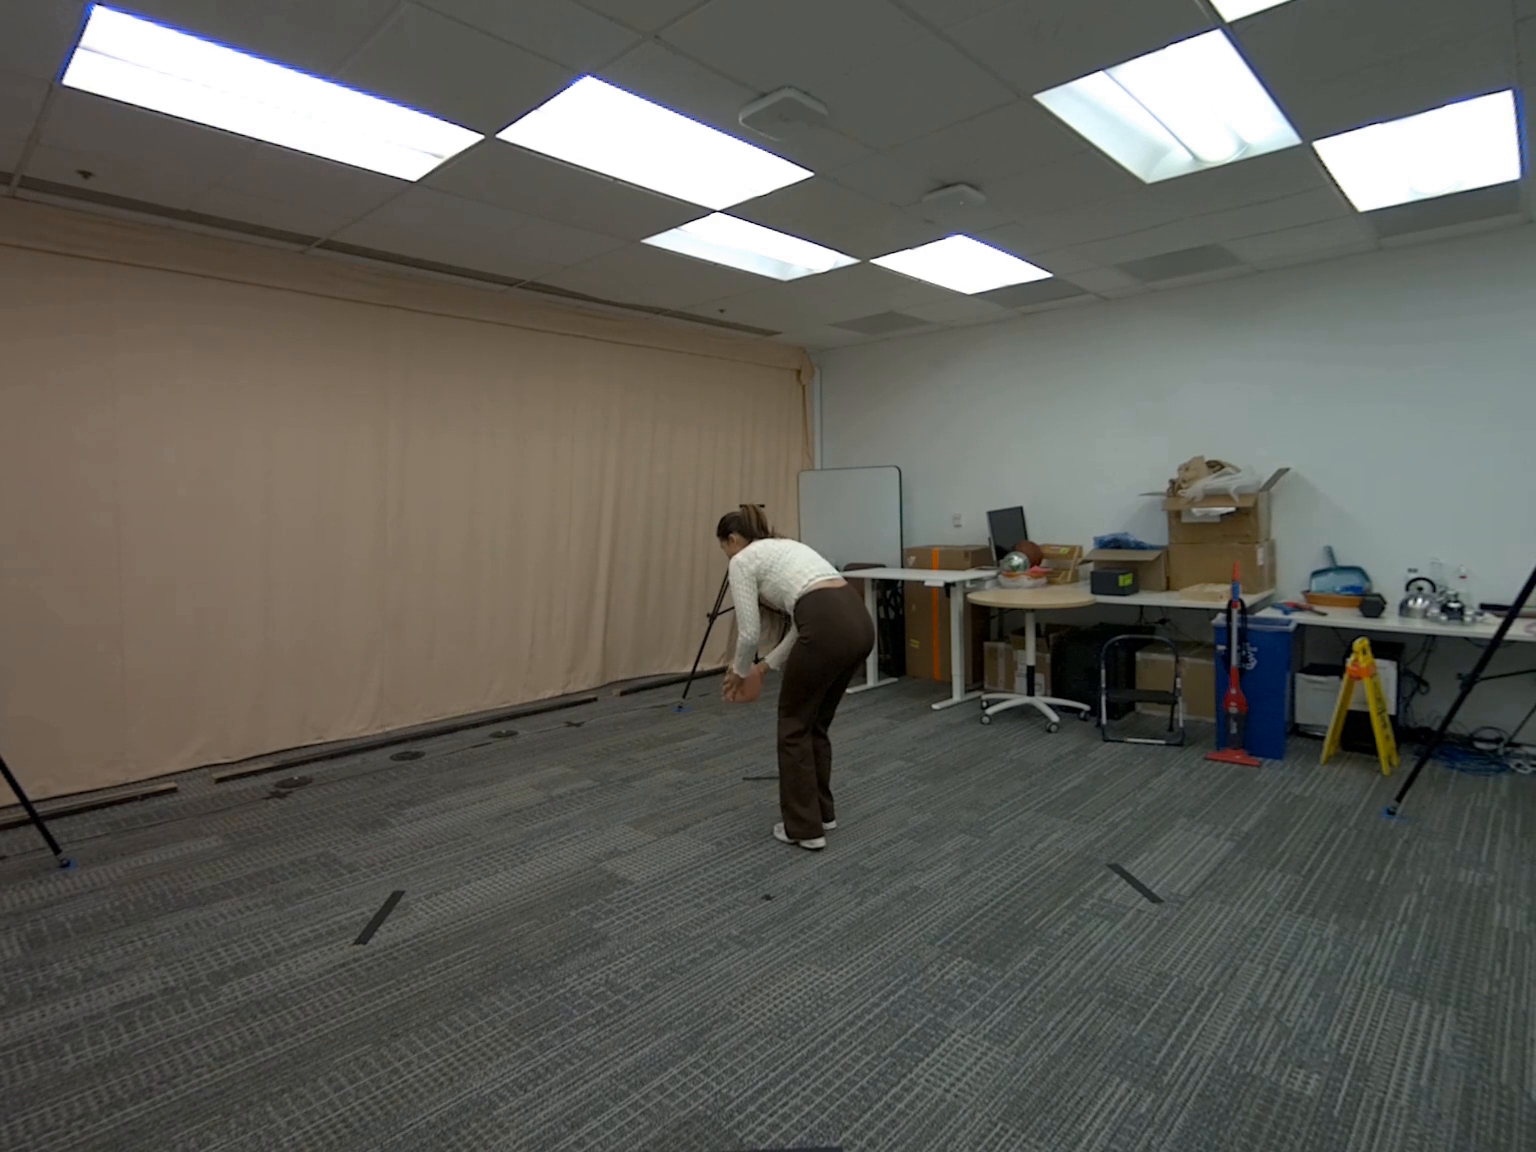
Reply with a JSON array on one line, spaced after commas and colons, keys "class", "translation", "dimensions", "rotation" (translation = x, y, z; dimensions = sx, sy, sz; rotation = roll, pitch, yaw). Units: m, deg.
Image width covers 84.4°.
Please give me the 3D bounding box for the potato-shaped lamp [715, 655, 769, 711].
[{"class": "potato-shaped lamp", "translation": [-0.118, 0.471, 3.805], "dimensions": [0.177, 0.197, 0.160], "rotation": [3, 7, 36]}]
